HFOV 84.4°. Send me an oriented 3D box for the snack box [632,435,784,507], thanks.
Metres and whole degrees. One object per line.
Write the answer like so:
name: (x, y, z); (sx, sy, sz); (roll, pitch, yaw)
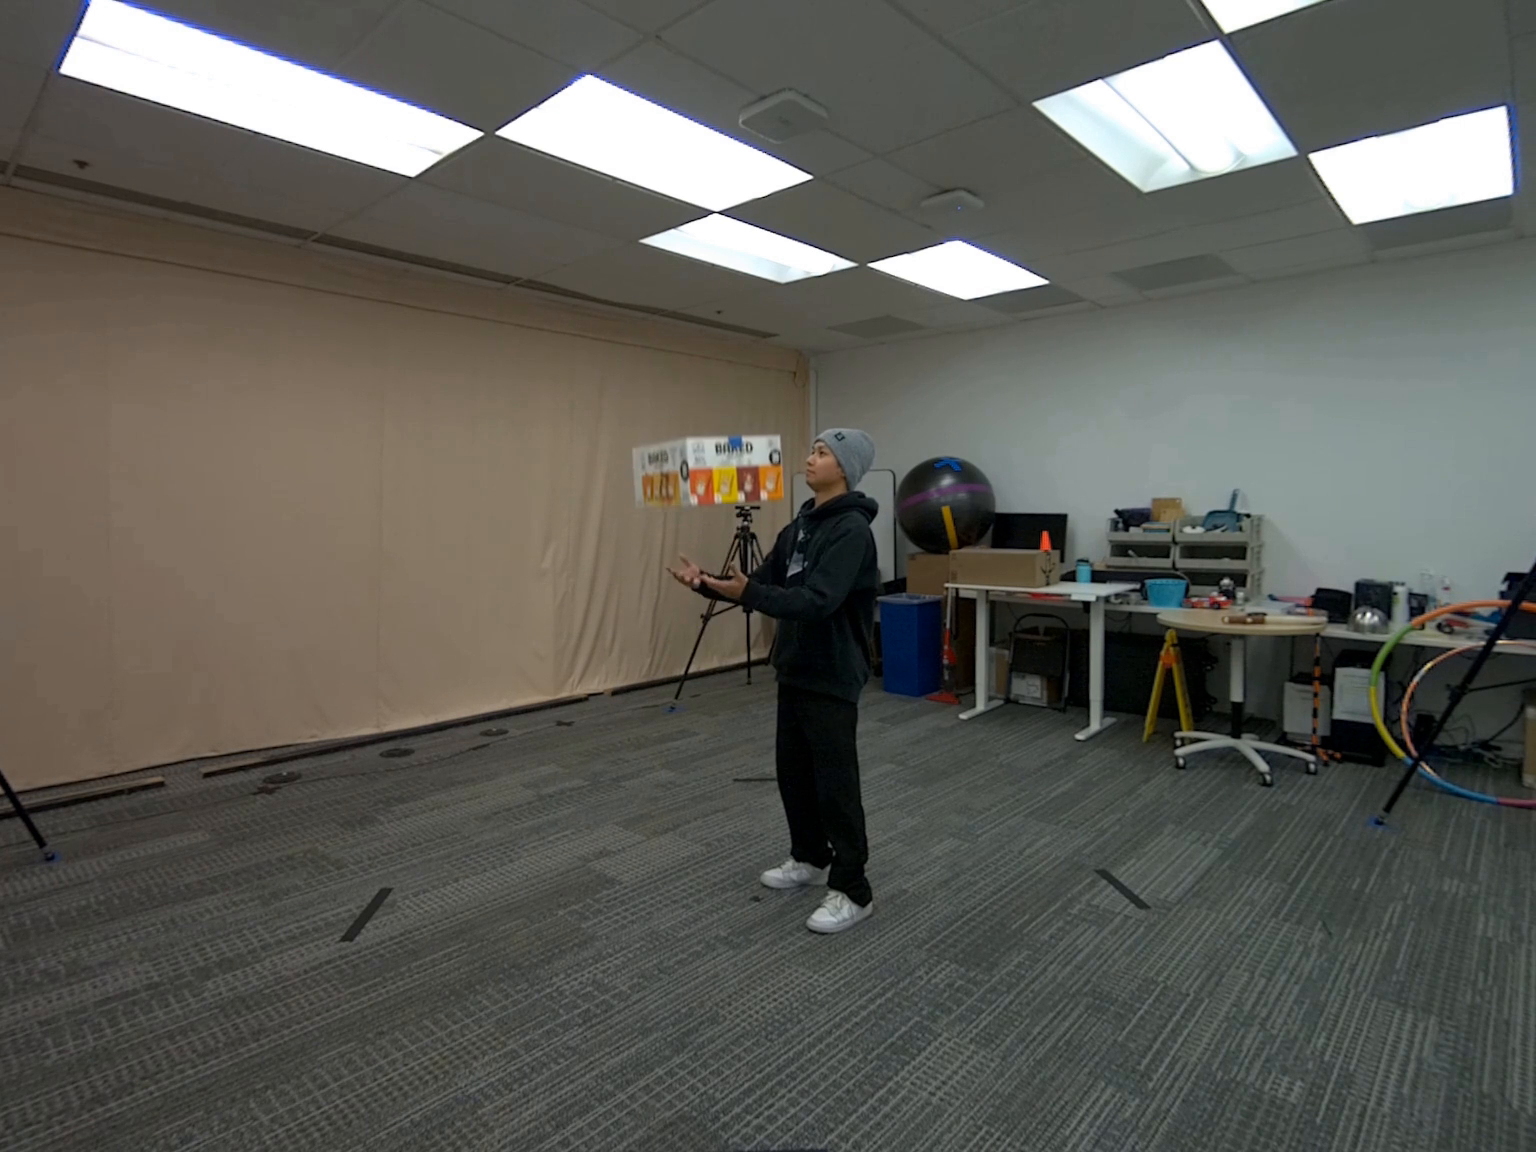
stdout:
snack box: (-0.205, -0.313, 2.783); (0.331, 0.205, 0.417); (-6, 6, -30)
